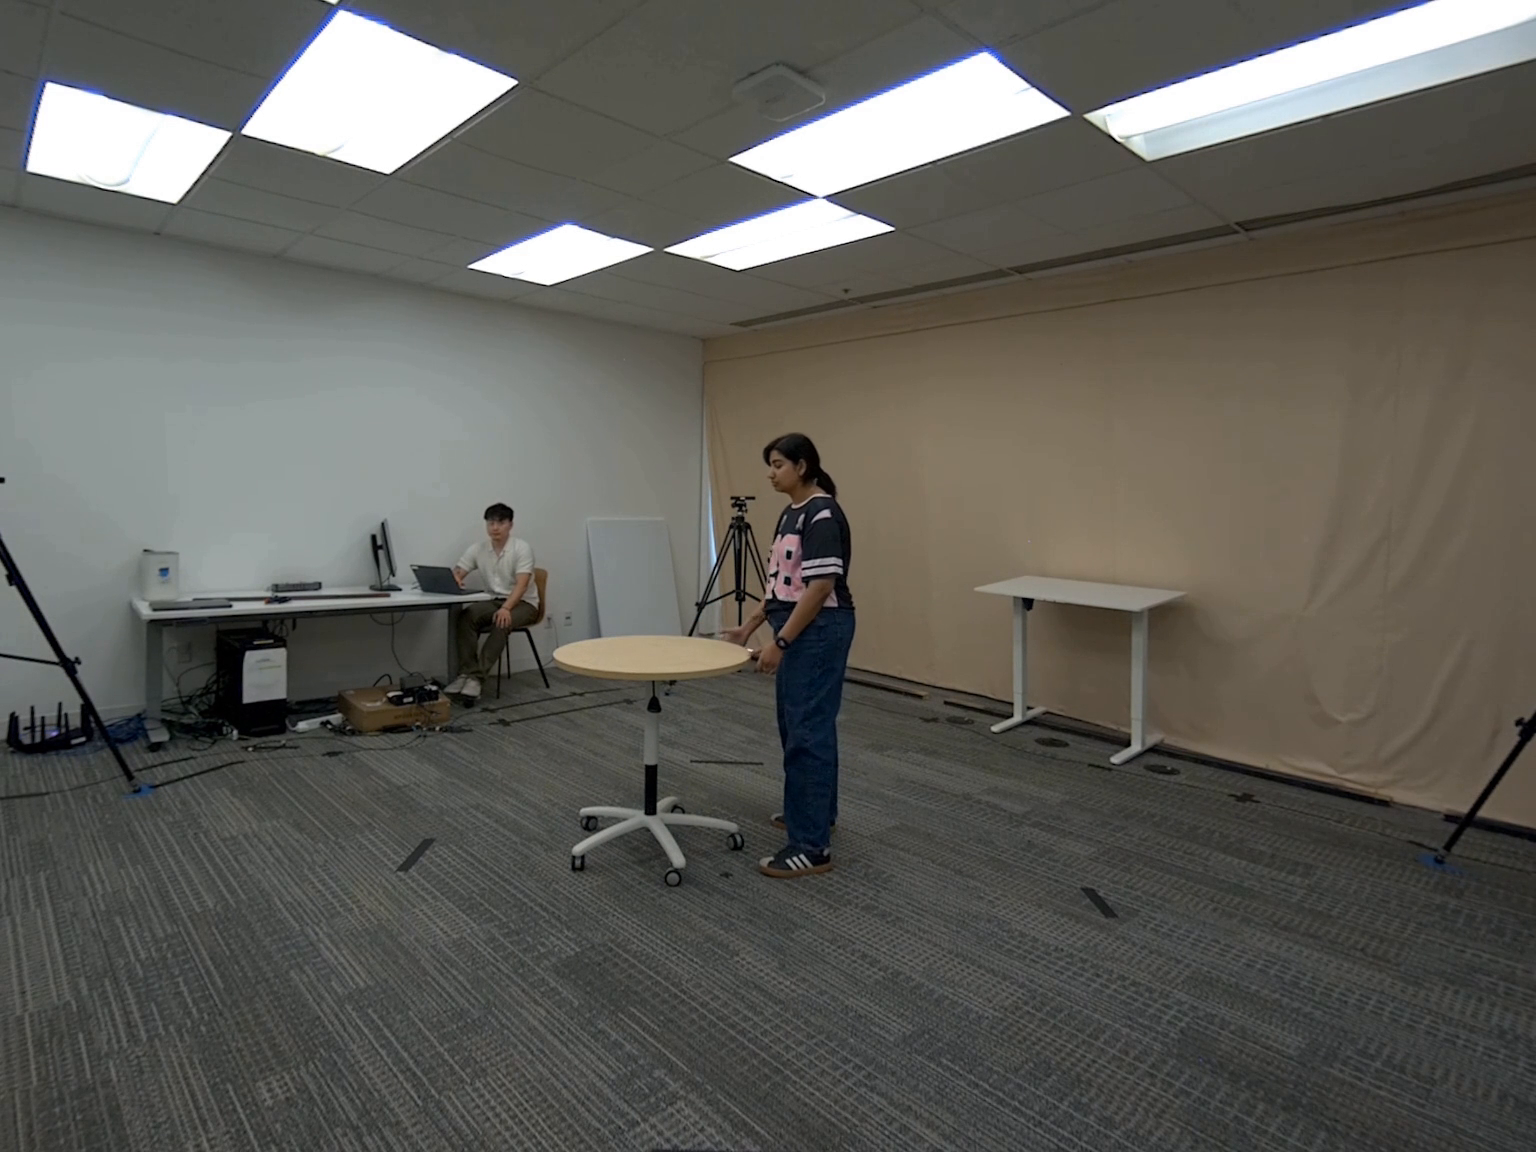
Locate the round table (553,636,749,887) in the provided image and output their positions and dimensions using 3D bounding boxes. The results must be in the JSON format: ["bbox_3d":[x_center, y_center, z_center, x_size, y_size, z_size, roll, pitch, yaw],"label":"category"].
[{"bbox_3d":[-0.460,0.689,3.303,0.763,0.792,0.767,1,4,-1],"label":"round table"}]
